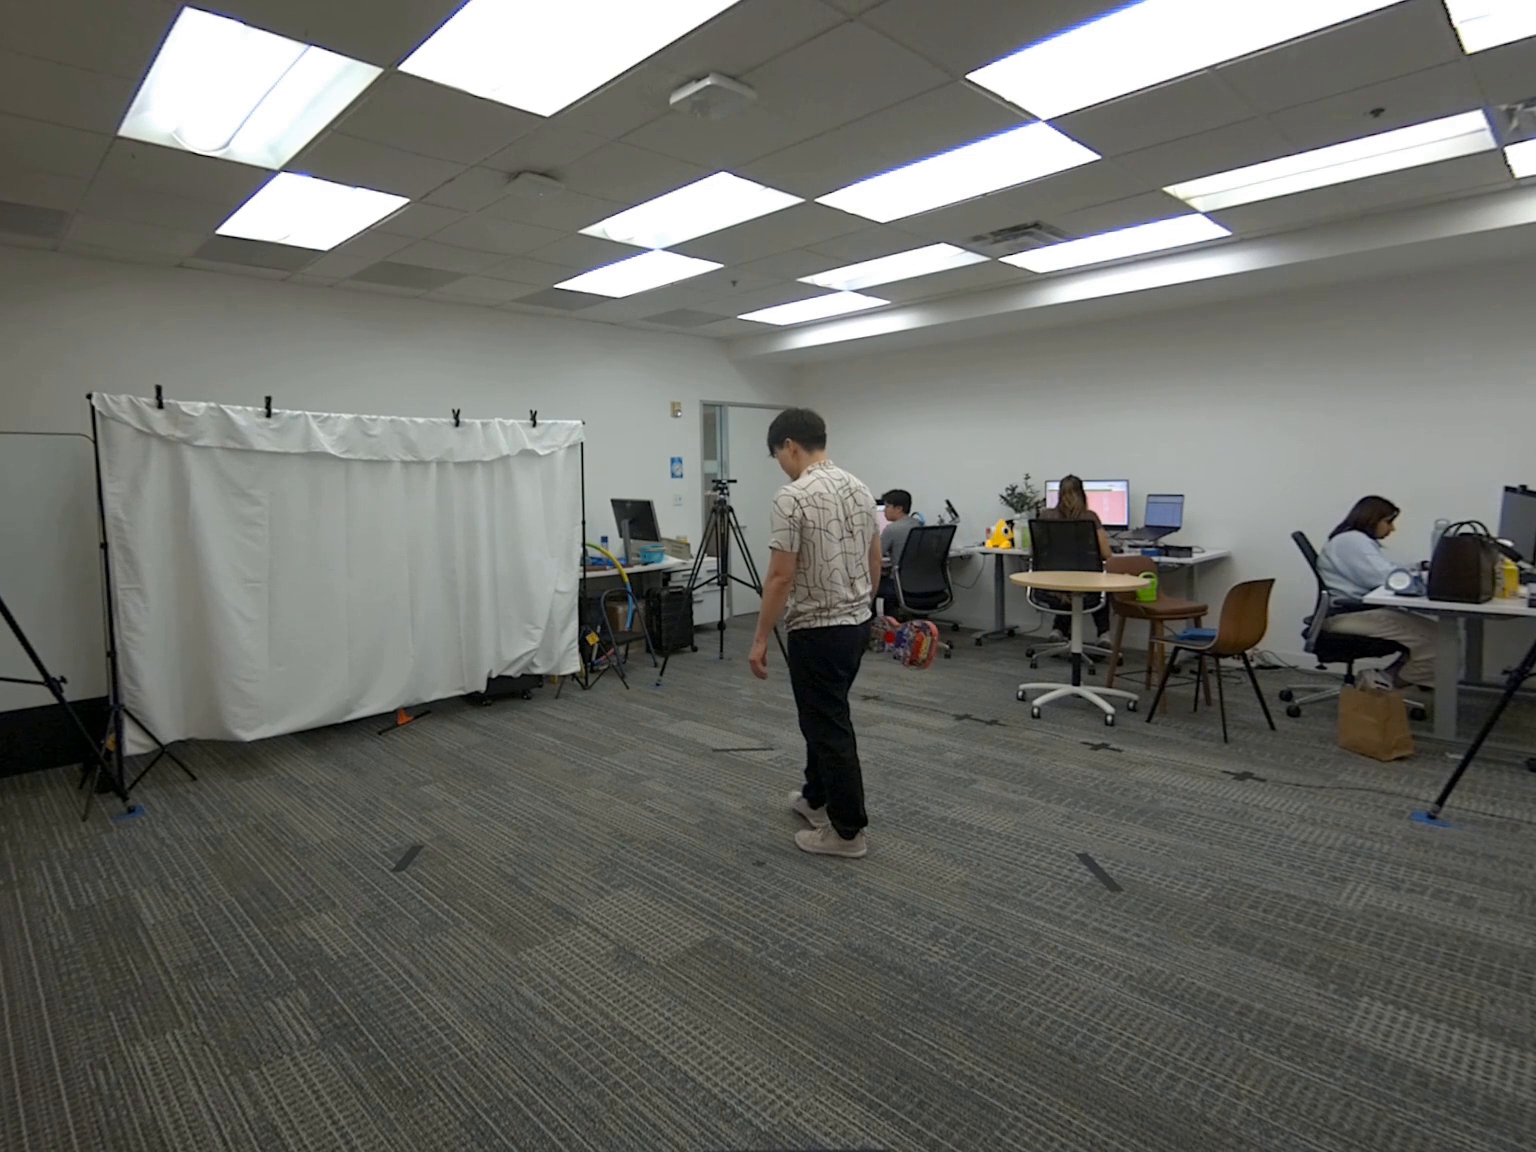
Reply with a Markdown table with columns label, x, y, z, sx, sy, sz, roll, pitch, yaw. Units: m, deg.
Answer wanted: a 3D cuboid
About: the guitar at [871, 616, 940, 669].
| label | x | y | z | sx | sy | sz | roll | pitch | yaw |
| --- | --- | --- | --- | --- | --- | --- | --- | --- | --- |
| guitar | 0.431 | 0.200 | 3.412 | 0.515 | 0.192 | 0.068 | 25 | 9 | 31 |
